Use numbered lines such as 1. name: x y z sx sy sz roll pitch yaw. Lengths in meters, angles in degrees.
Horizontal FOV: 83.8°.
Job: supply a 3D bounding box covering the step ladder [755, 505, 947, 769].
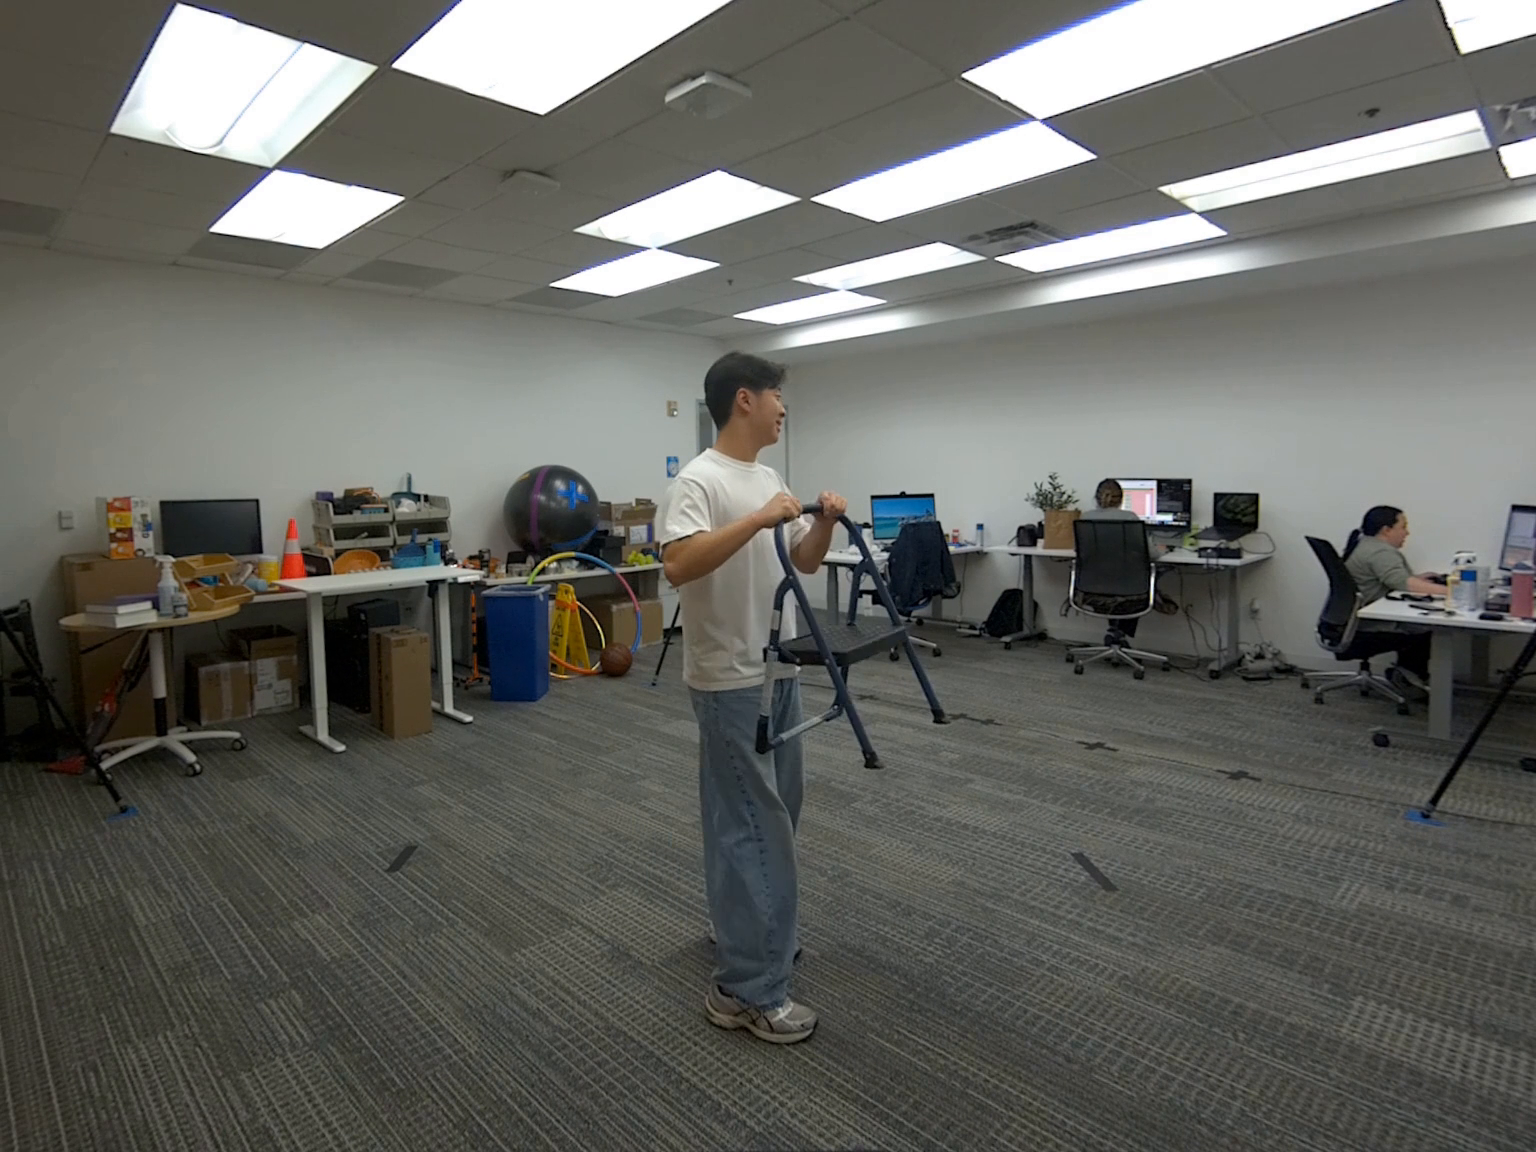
1. step ladder: 0.184 0.119 2.193 0.358 0.605 0.420 -5 2 35
